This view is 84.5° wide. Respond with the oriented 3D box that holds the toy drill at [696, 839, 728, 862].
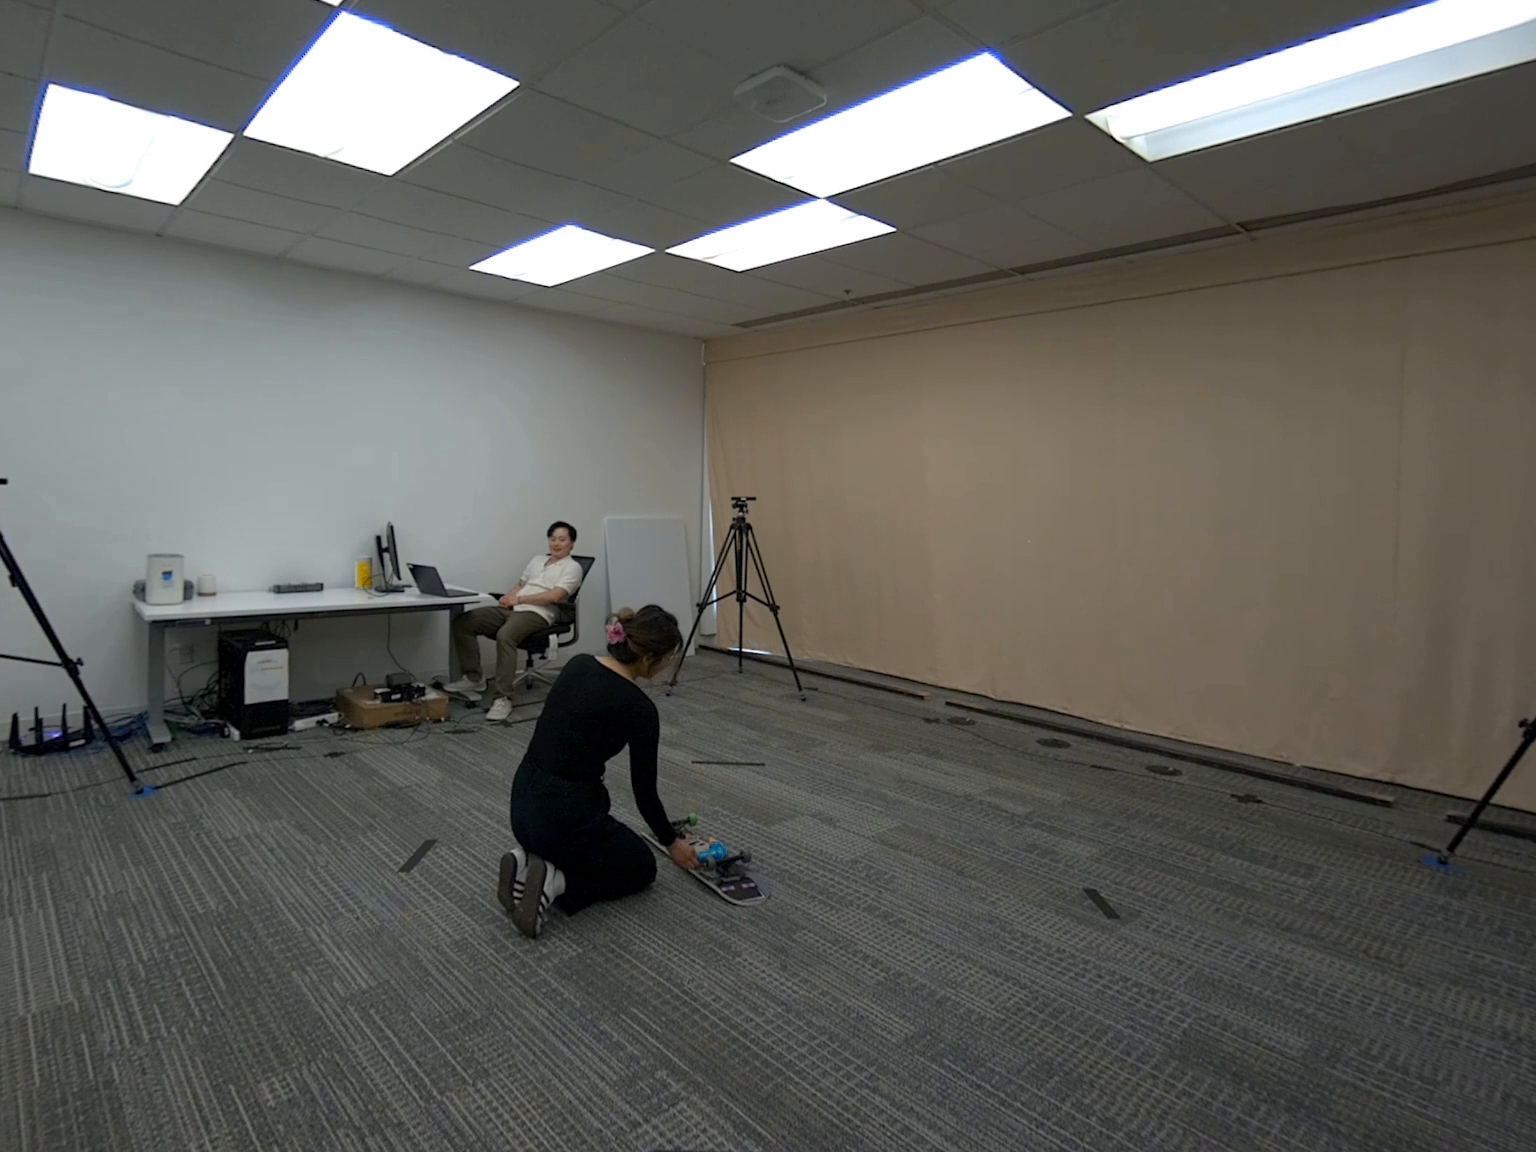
[{"bbox_3d":[-0.236,1.036,3.178,0.144,0.060,0.173,-5,12,-21],"label":"toy drill"}]
